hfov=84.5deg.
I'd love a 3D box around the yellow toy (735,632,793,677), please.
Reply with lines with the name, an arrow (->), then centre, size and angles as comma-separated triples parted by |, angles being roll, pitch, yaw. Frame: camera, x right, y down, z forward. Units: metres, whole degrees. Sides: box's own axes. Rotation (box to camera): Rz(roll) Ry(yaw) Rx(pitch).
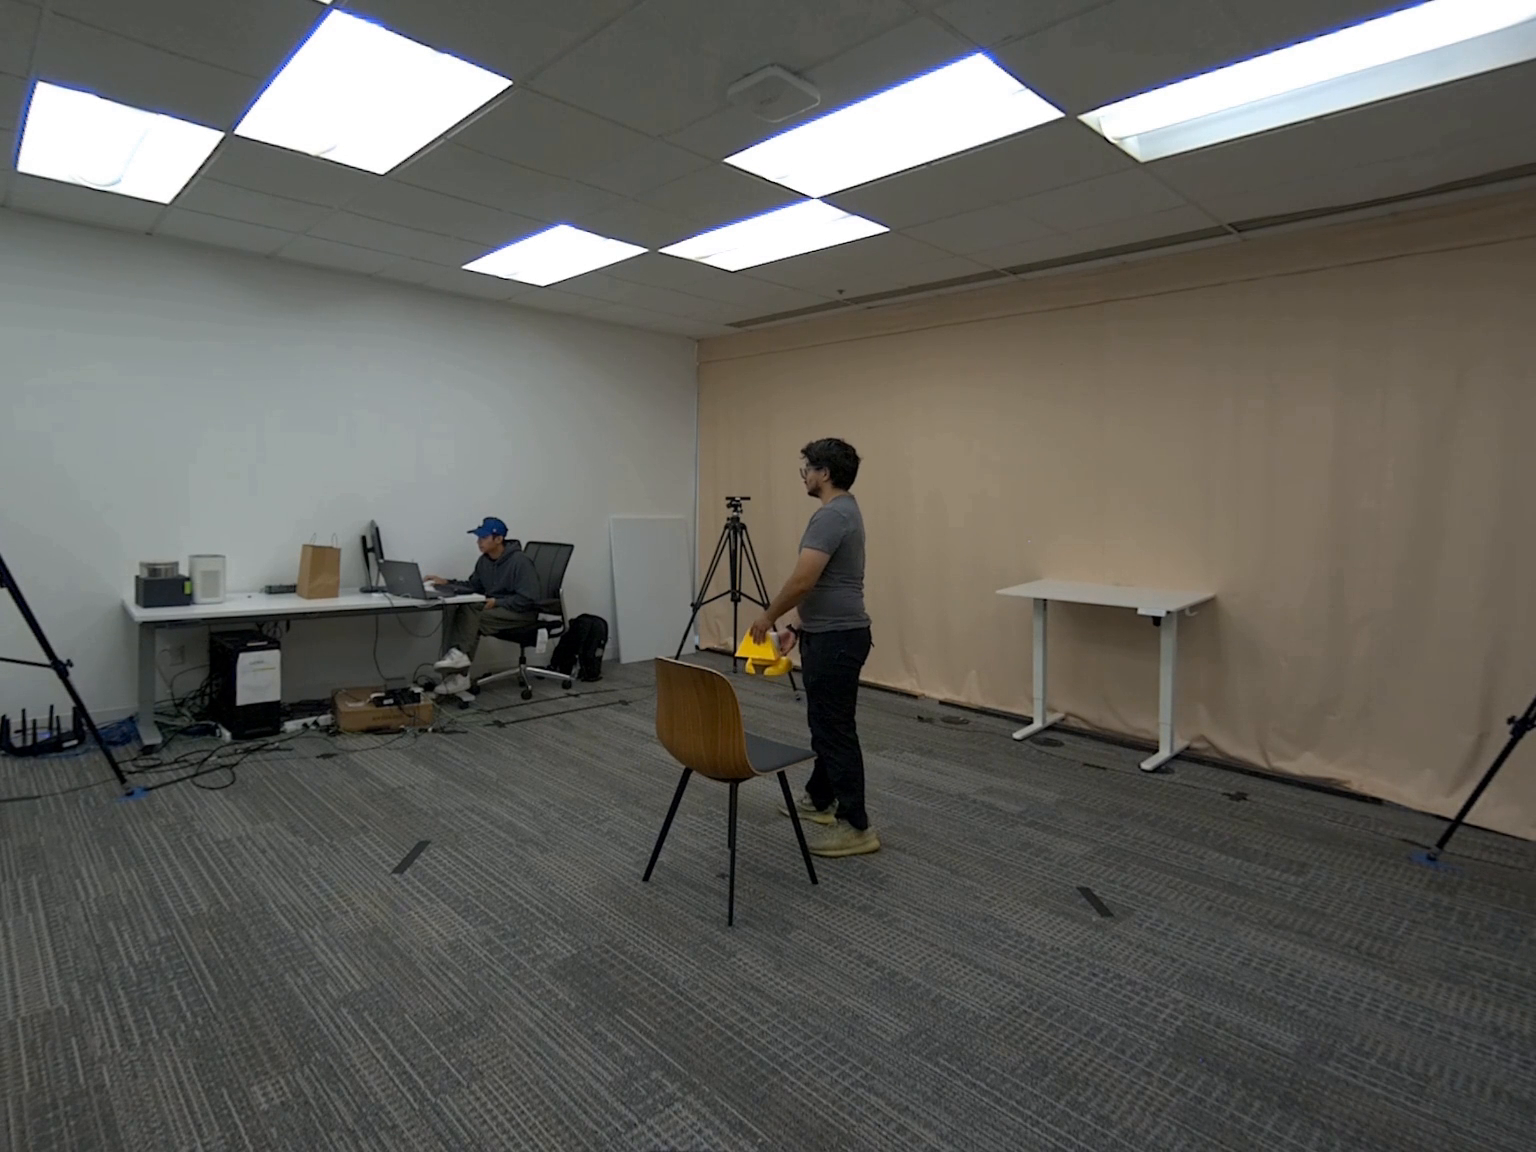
yellow toy -> -0.016, 0.288, 3.595 | 0.209, 0.229, 0.190 | 0, 11, 35
